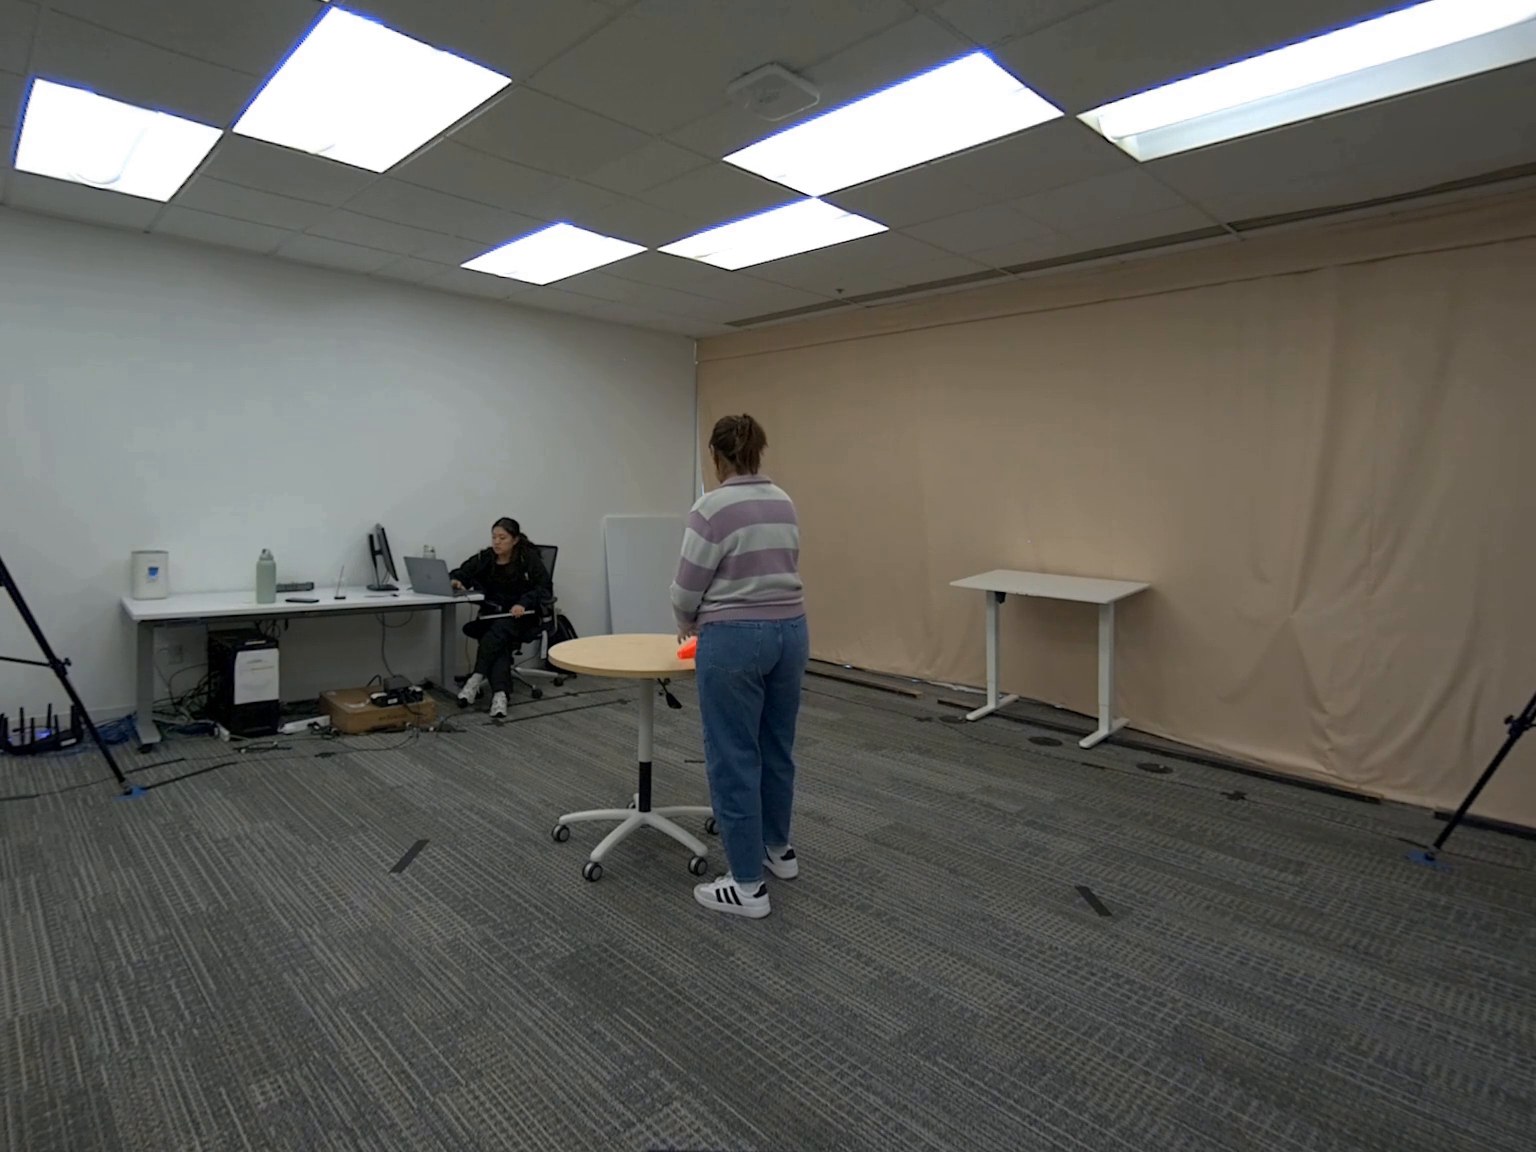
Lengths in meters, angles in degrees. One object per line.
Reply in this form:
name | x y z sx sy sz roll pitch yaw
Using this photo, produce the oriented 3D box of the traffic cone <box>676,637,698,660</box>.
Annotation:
traffic cone | -0.222 0.254 3.297 0.210 0.201 0.377 12 20 39
